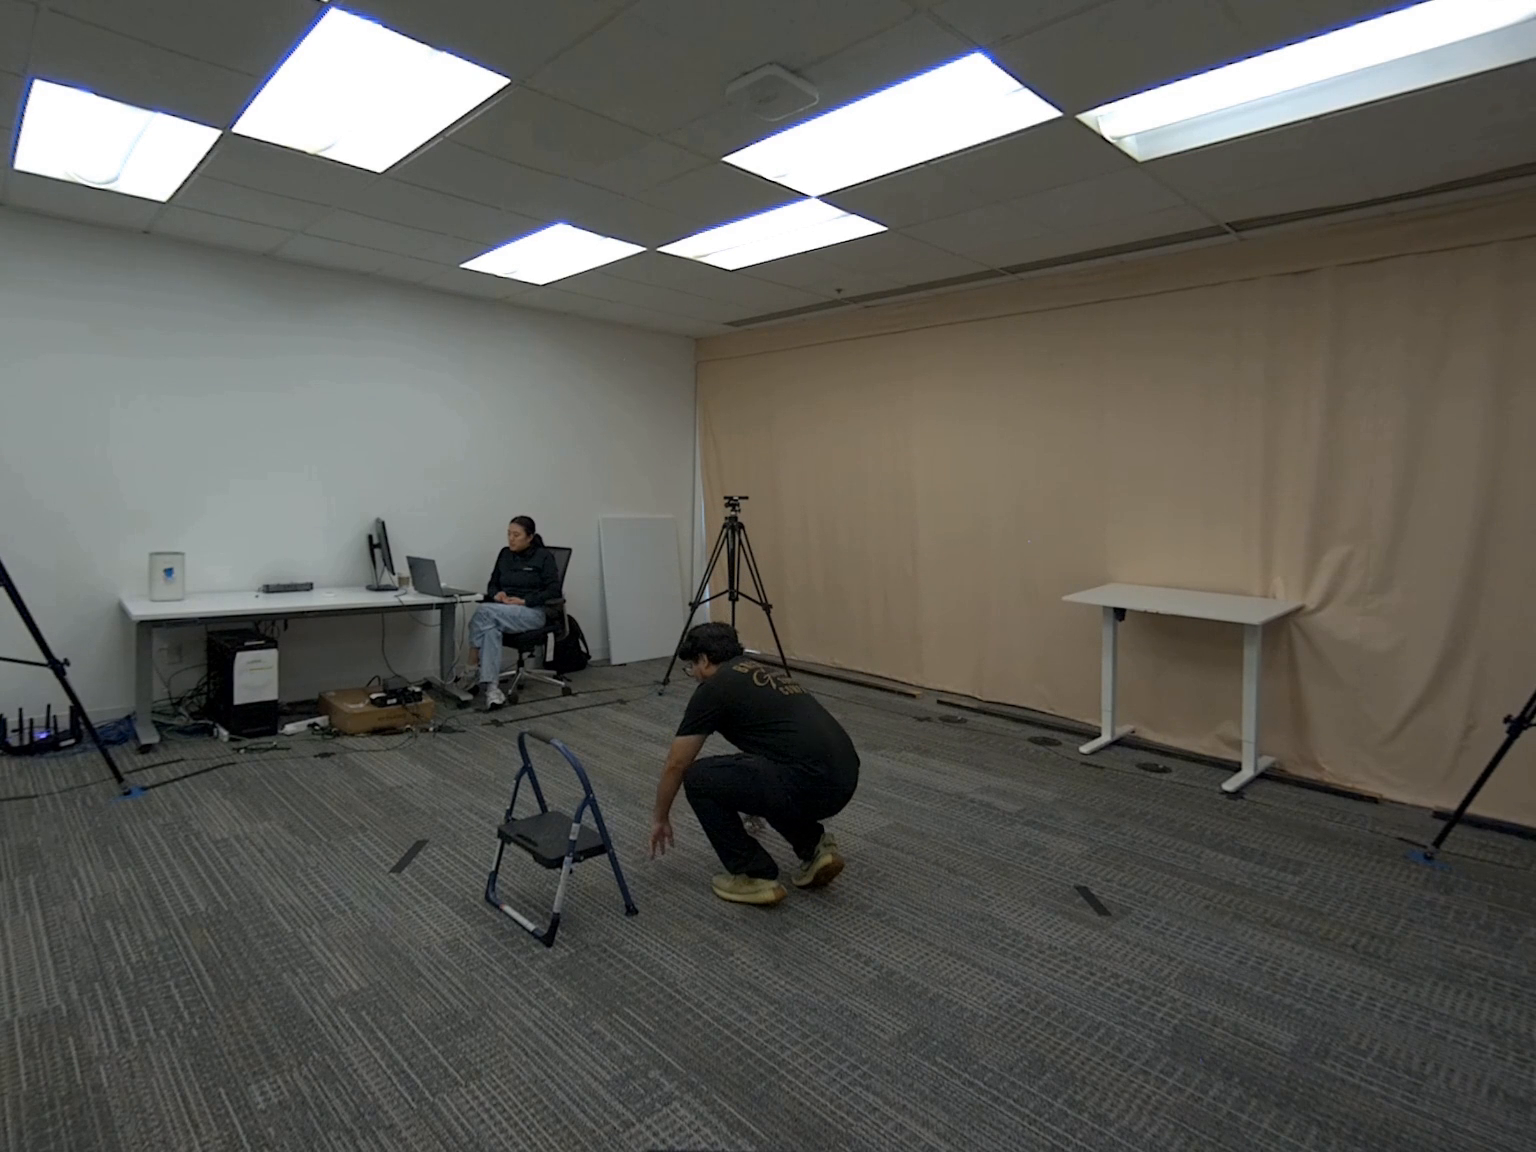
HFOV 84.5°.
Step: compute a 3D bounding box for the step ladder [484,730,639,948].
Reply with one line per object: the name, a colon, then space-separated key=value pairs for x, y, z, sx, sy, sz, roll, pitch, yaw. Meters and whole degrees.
step ladder: x=-0.701 y=0.816 z=2.823 sx=0.441 sy=0.605 sz=0.341 roll=4 pitch=5 yaw=45
